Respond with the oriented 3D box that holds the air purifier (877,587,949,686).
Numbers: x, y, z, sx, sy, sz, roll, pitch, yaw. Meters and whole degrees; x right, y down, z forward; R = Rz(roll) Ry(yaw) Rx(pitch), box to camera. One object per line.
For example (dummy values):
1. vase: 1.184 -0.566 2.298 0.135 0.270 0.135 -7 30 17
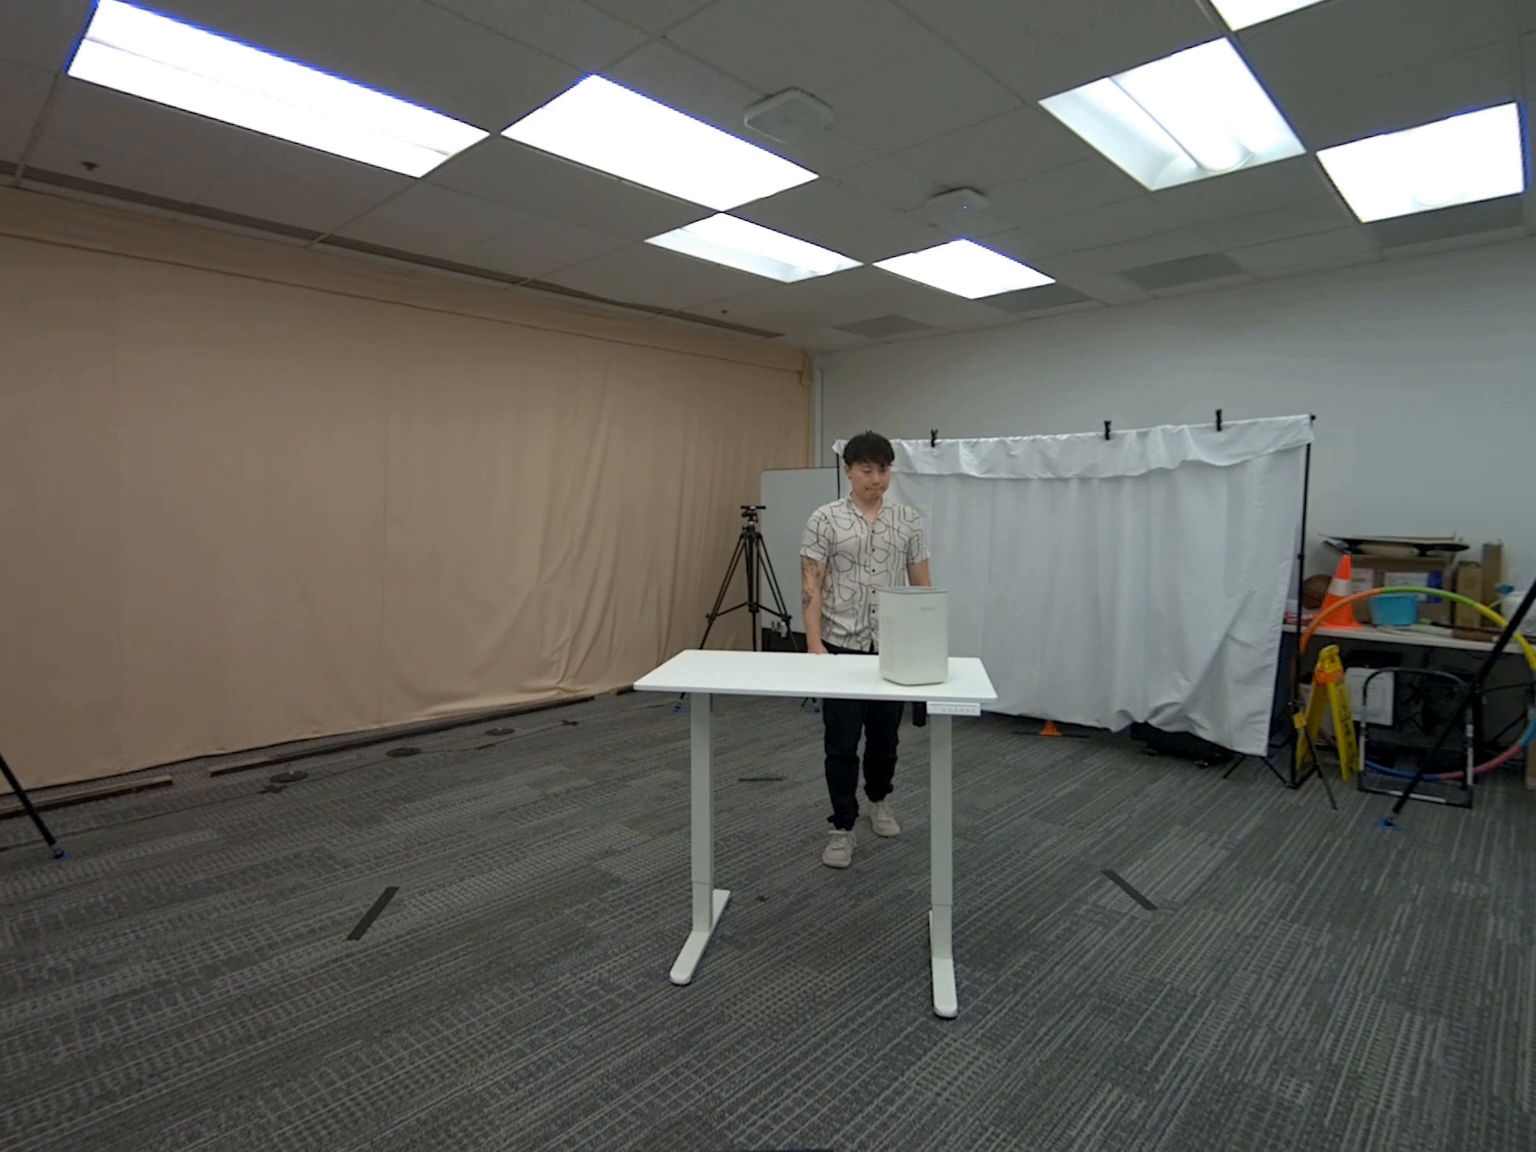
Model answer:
1. air purifier: 0.419 0.175 2.430 0.168 0.265 0.175 -3 4 -17
